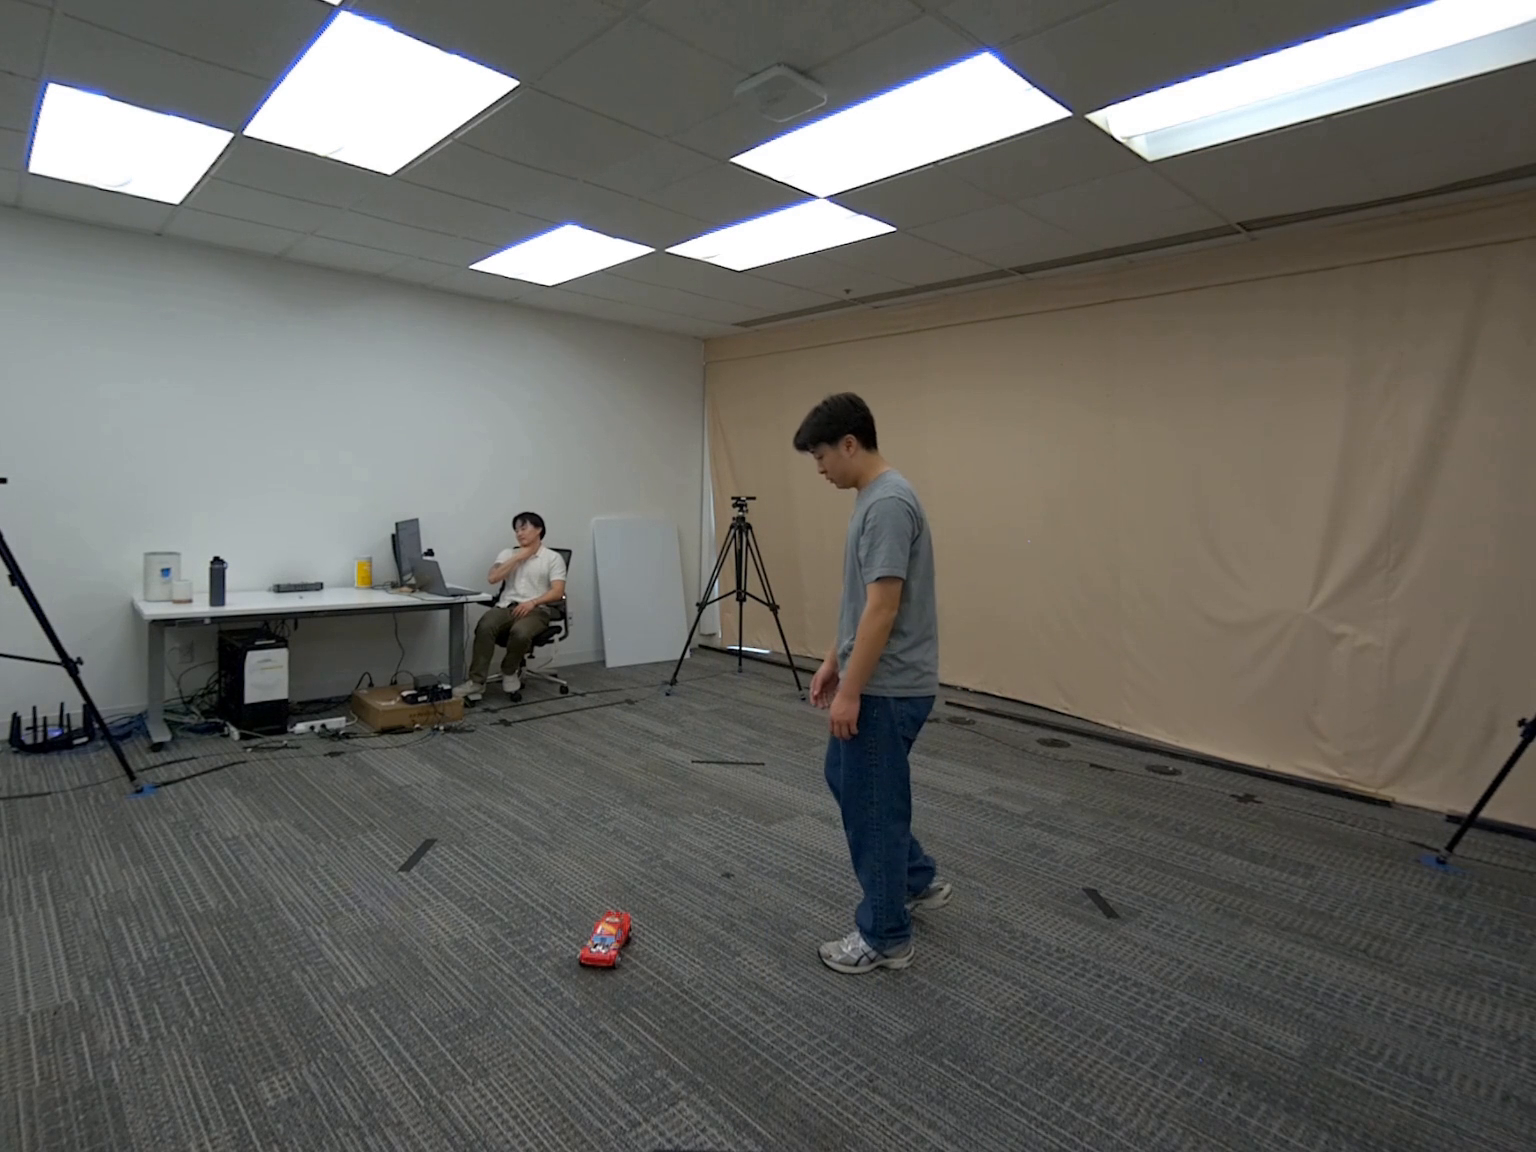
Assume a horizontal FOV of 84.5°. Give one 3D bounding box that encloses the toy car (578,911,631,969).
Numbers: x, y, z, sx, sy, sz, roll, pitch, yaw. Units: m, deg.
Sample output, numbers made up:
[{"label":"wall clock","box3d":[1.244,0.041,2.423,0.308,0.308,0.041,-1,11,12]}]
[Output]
[{"label":"toy car","box3d":[-0.499,1.119,2.571,0.131,0.082,0.256,1,16,6]}]
